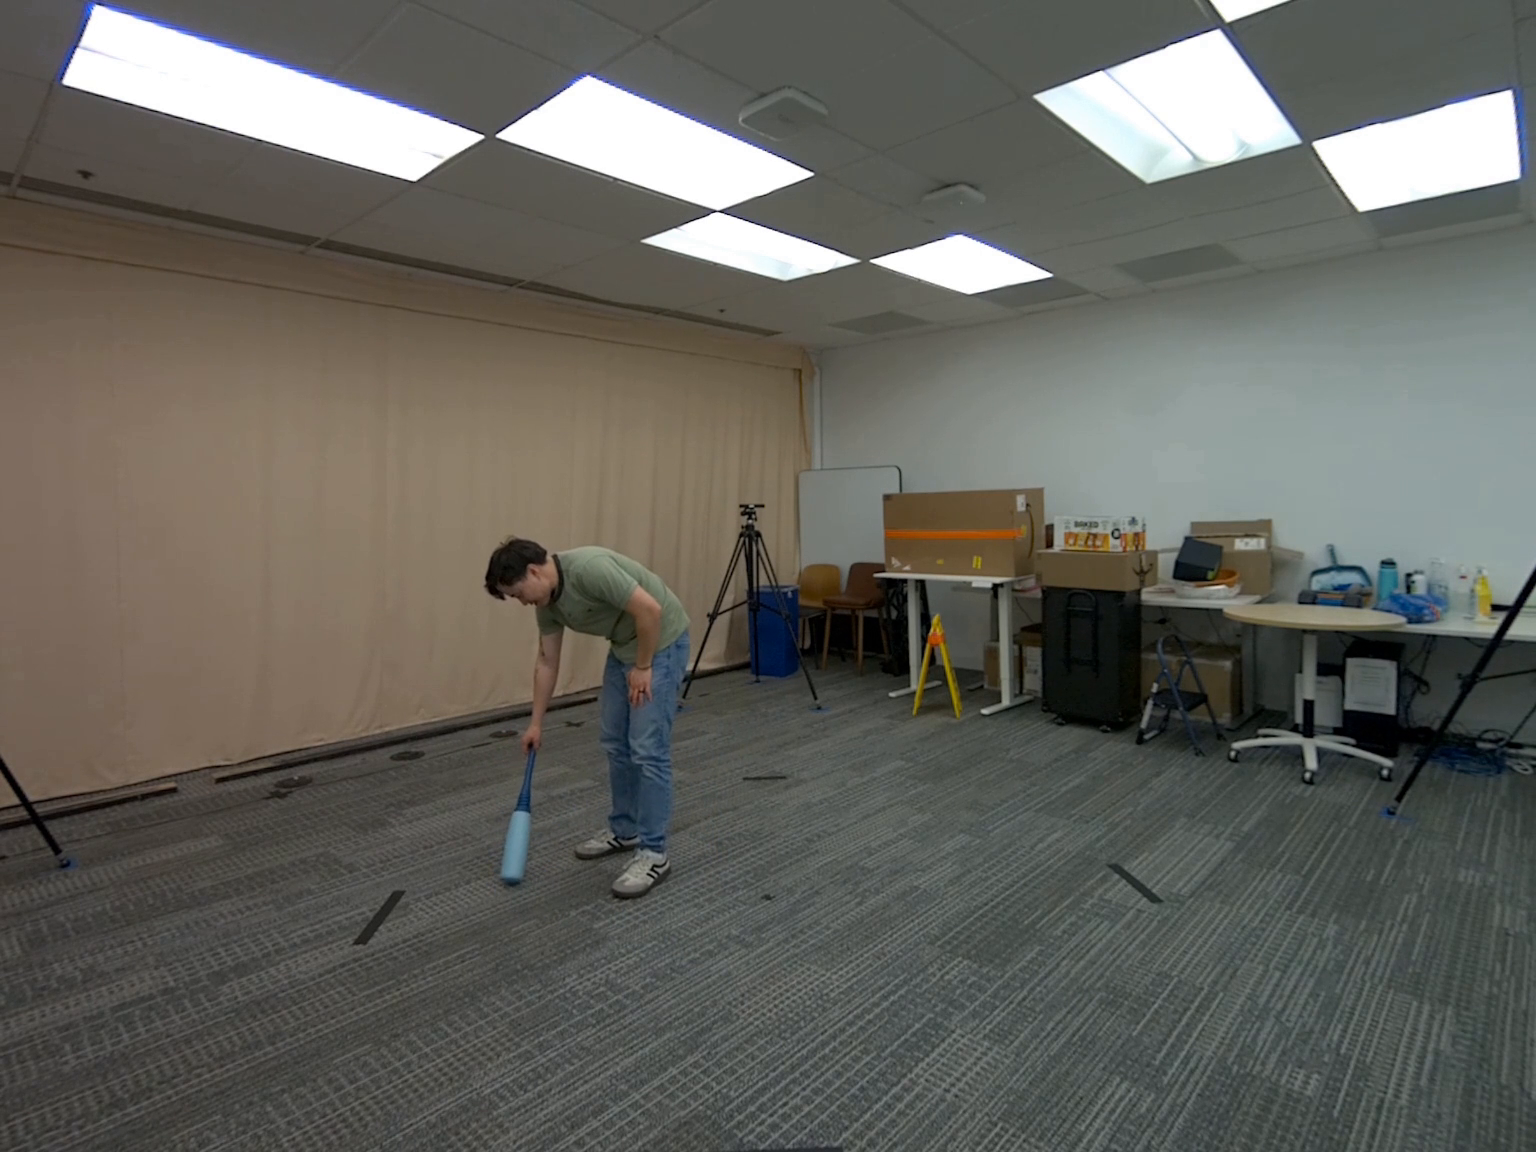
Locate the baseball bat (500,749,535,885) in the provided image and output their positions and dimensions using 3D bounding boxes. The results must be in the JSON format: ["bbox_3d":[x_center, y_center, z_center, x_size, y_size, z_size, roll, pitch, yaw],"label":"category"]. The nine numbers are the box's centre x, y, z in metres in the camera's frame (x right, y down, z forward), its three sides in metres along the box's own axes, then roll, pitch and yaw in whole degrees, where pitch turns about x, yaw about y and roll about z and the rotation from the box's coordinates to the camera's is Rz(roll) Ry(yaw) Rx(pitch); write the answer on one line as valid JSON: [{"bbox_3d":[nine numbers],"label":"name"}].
[{"bbox_3d":[-0.950,0.908,3.273,0.089,0.552,0.087,1,-32,-1],"label":"baseball bat"}]
